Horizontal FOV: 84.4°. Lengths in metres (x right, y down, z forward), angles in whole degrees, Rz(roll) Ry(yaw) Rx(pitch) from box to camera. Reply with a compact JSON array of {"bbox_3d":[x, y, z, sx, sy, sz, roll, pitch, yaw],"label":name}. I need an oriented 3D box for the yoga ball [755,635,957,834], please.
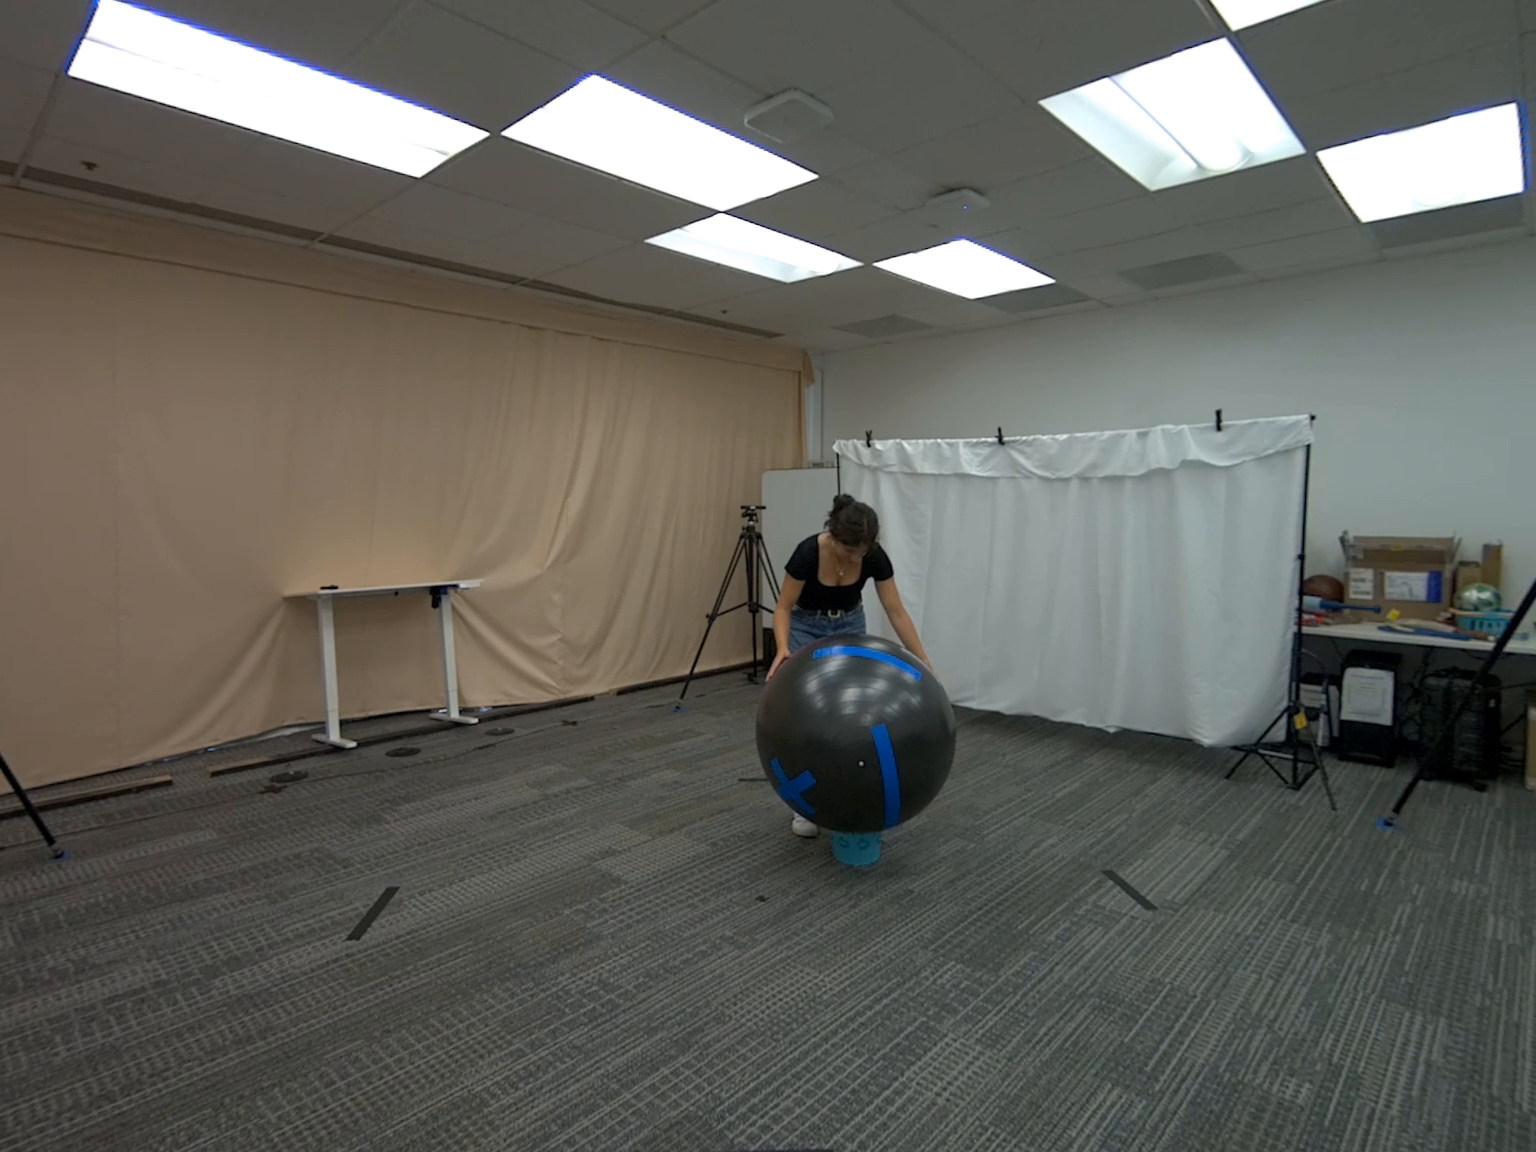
[{"bbox_3d":[0.337,0.607,3.262,0.757,0.756,0.760,0,4,-2],"label":"yoga ball"}]
